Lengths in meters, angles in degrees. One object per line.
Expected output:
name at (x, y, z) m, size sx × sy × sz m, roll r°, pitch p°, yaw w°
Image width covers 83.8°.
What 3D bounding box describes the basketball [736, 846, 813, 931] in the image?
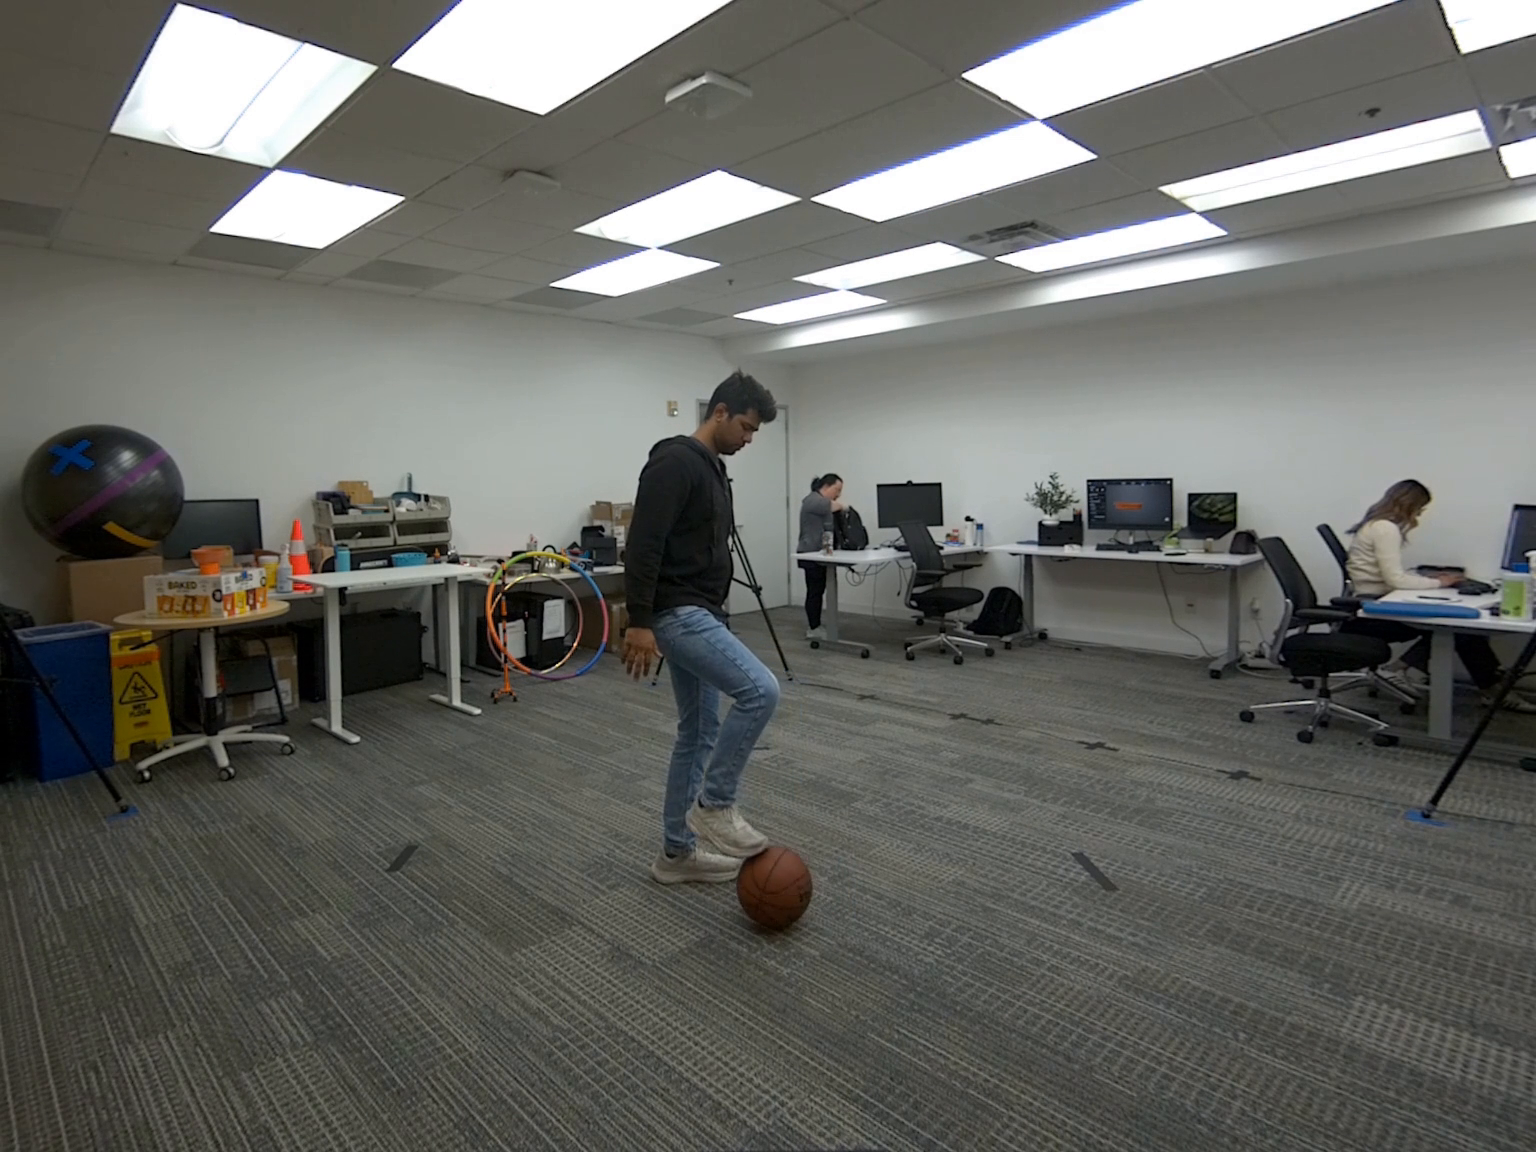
basketball at (0.039, 0.973, 2.668) m, size 0.236 × 0.235 × 0.237 m, roll -1°, pitch 5°, yaw -2°
